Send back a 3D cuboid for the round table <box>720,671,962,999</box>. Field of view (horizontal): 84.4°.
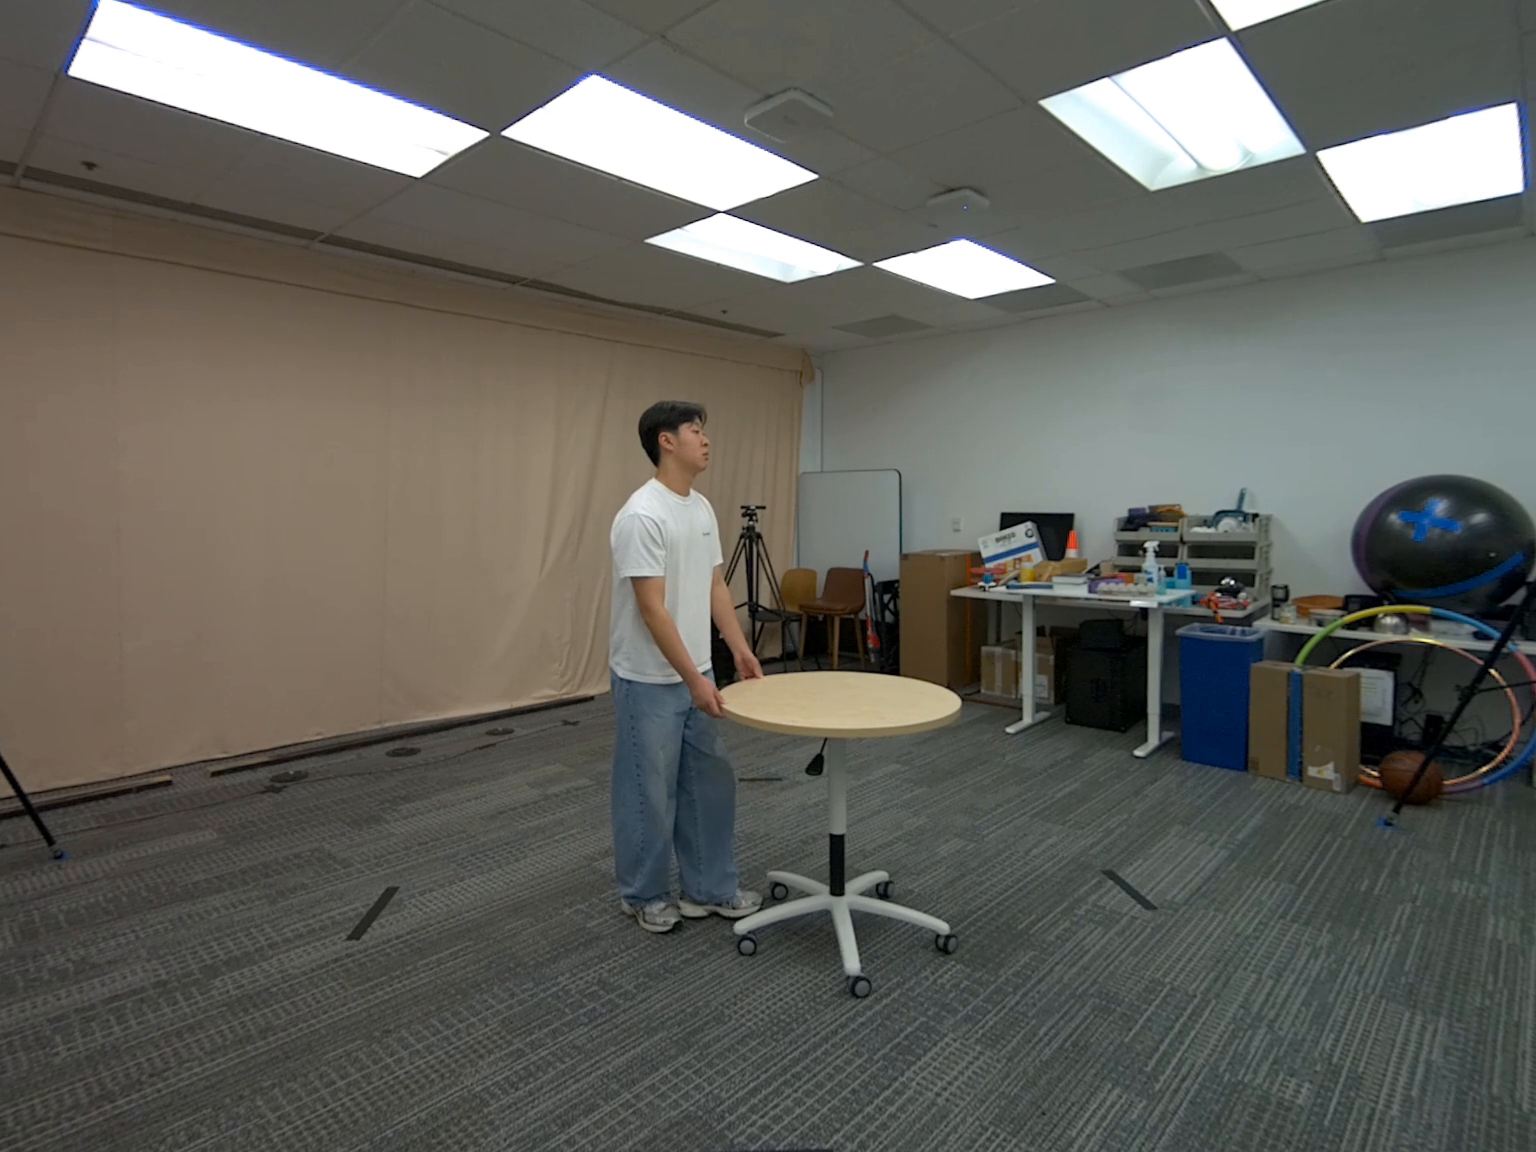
[{"bbox_3d":[0.229,0.776,2.704,0.763,0.792,0.767,-1,4,-2],"label":"round table"}]
